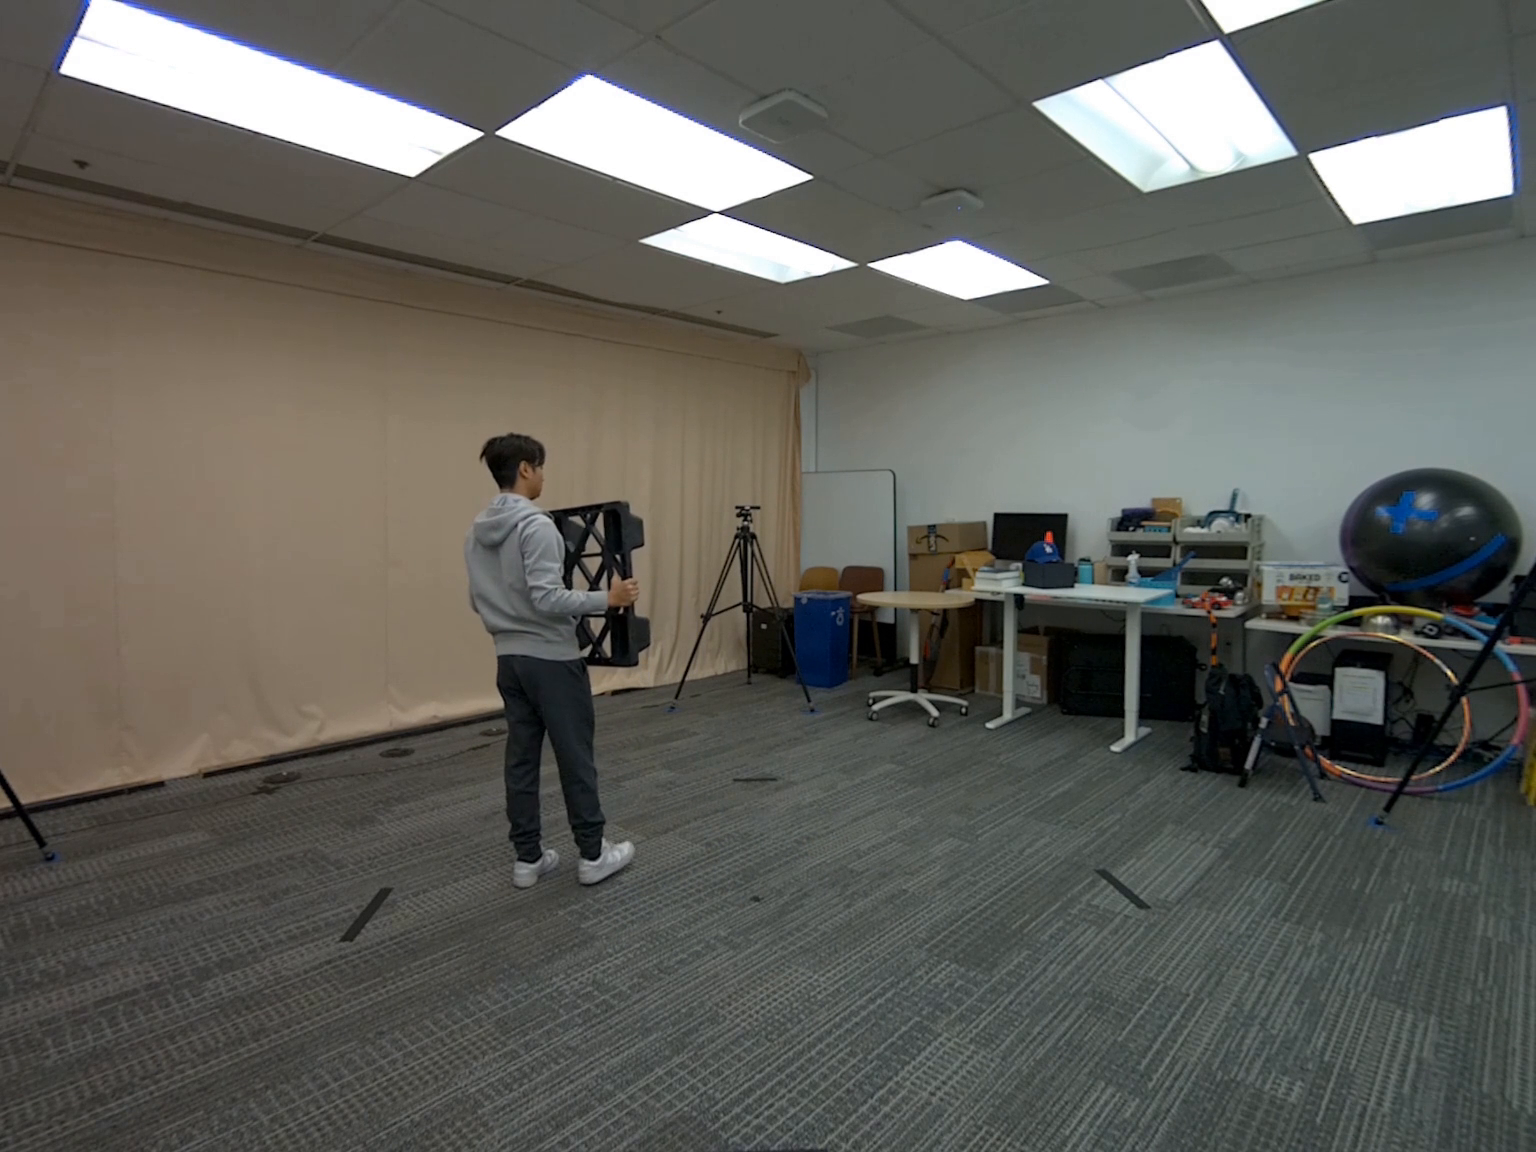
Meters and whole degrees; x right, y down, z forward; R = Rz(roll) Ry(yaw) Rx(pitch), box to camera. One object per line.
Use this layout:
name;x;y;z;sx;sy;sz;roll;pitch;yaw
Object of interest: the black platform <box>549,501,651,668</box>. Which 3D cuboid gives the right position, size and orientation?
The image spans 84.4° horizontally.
black platform;-0.770;0.044;3.293;0.830;0.605;0.139;-4;-1;41
